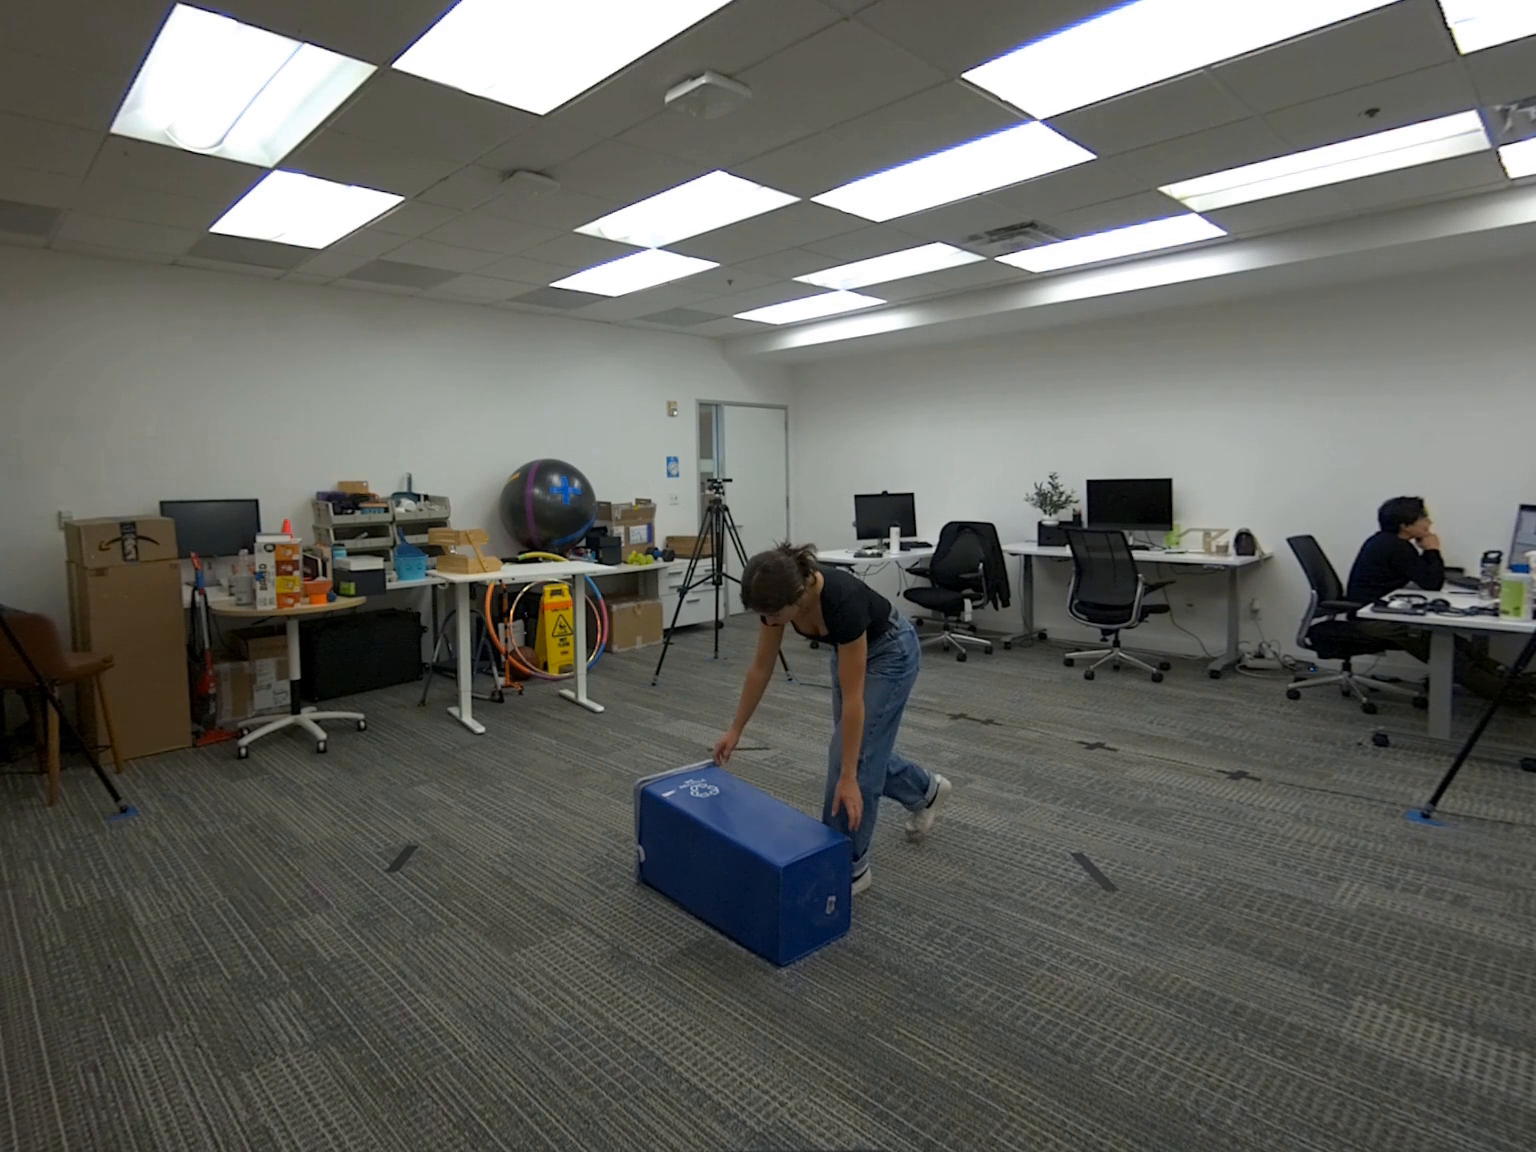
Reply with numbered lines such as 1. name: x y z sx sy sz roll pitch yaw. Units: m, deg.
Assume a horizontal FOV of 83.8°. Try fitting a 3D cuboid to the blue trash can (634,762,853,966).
1. blue trash can: -0.085 0.916 2.788 0.364 0.376 0.737 -5 10 -41
